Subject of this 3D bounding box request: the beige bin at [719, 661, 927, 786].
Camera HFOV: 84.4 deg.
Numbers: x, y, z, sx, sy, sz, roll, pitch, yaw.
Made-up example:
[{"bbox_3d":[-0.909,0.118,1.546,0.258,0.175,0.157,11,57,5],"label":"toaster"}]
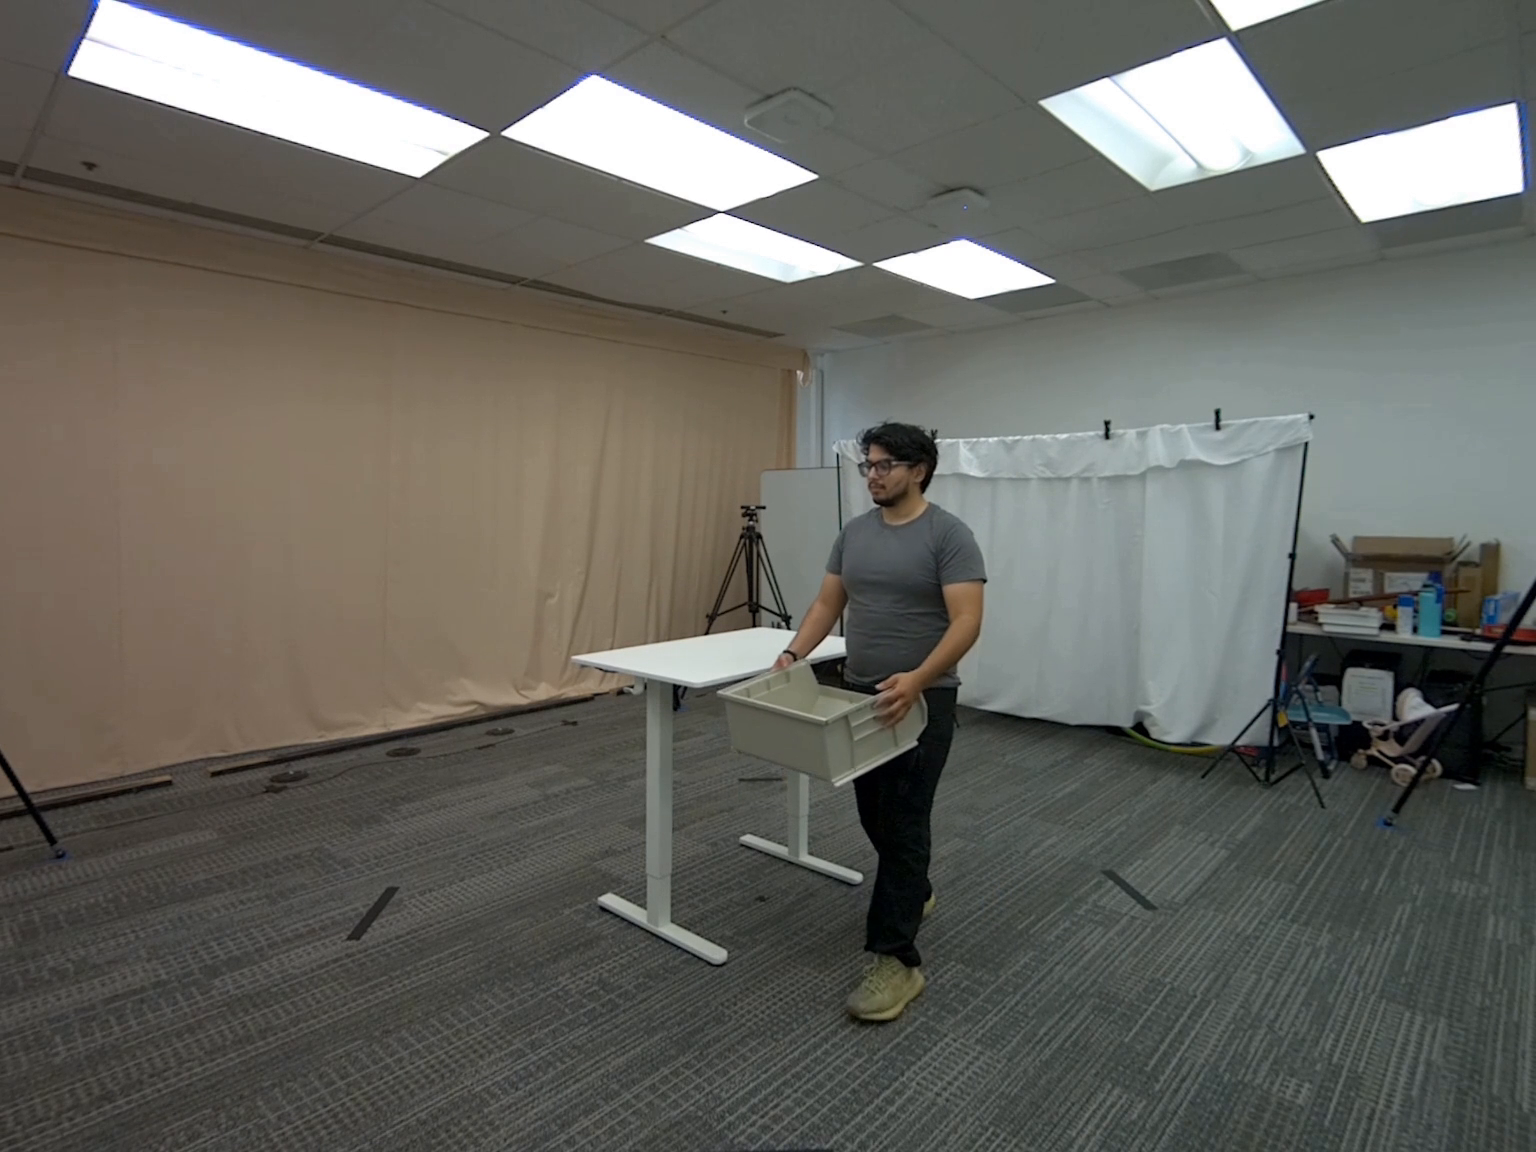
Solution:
[{"bbox_3d":[0.154,0.367,2.293,0.368,0.187,0.436,-18,15,-37],"label":"beige bin"}]
